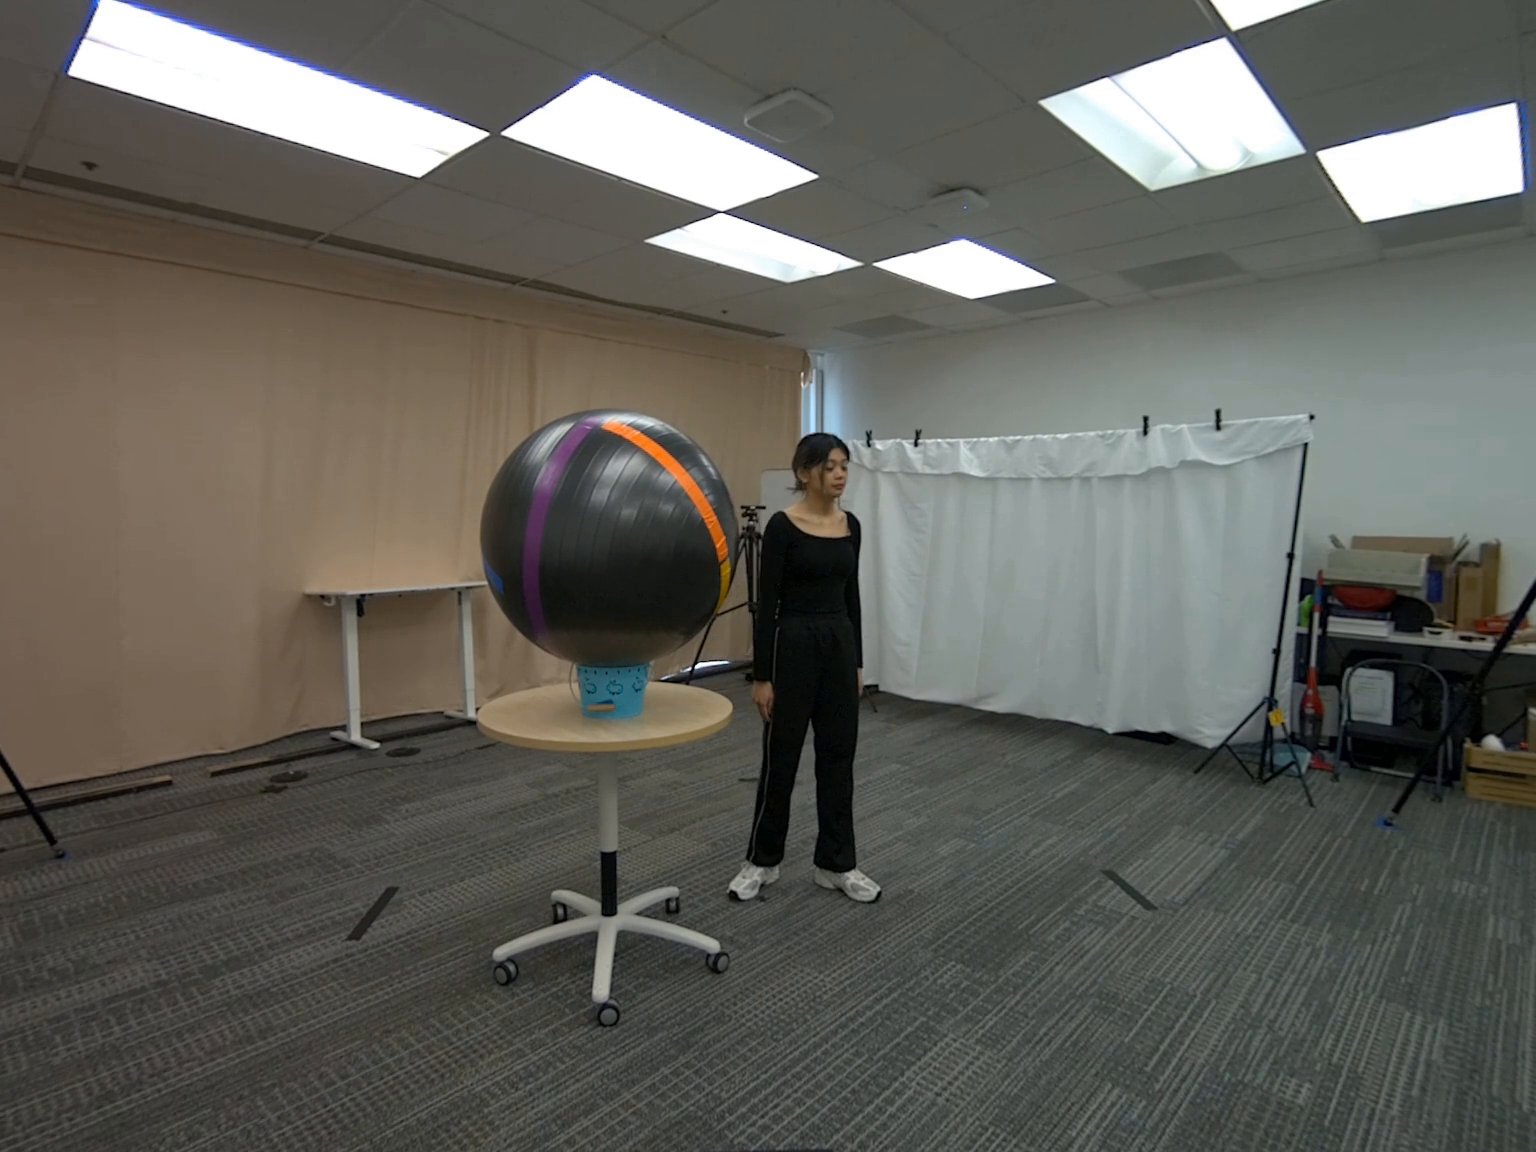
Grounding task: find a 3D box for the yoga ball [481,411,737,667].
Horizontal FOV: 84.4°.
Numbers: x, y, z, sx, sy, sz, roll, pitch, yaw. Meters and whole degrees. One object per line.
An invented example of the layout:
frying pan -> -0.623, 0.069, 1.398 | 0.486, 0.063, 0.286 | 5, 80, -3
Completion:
yoga ball -> -0.466, -0.104, 2.487 | 0.757, 0.756, 0.760 | 0, 4, -2
